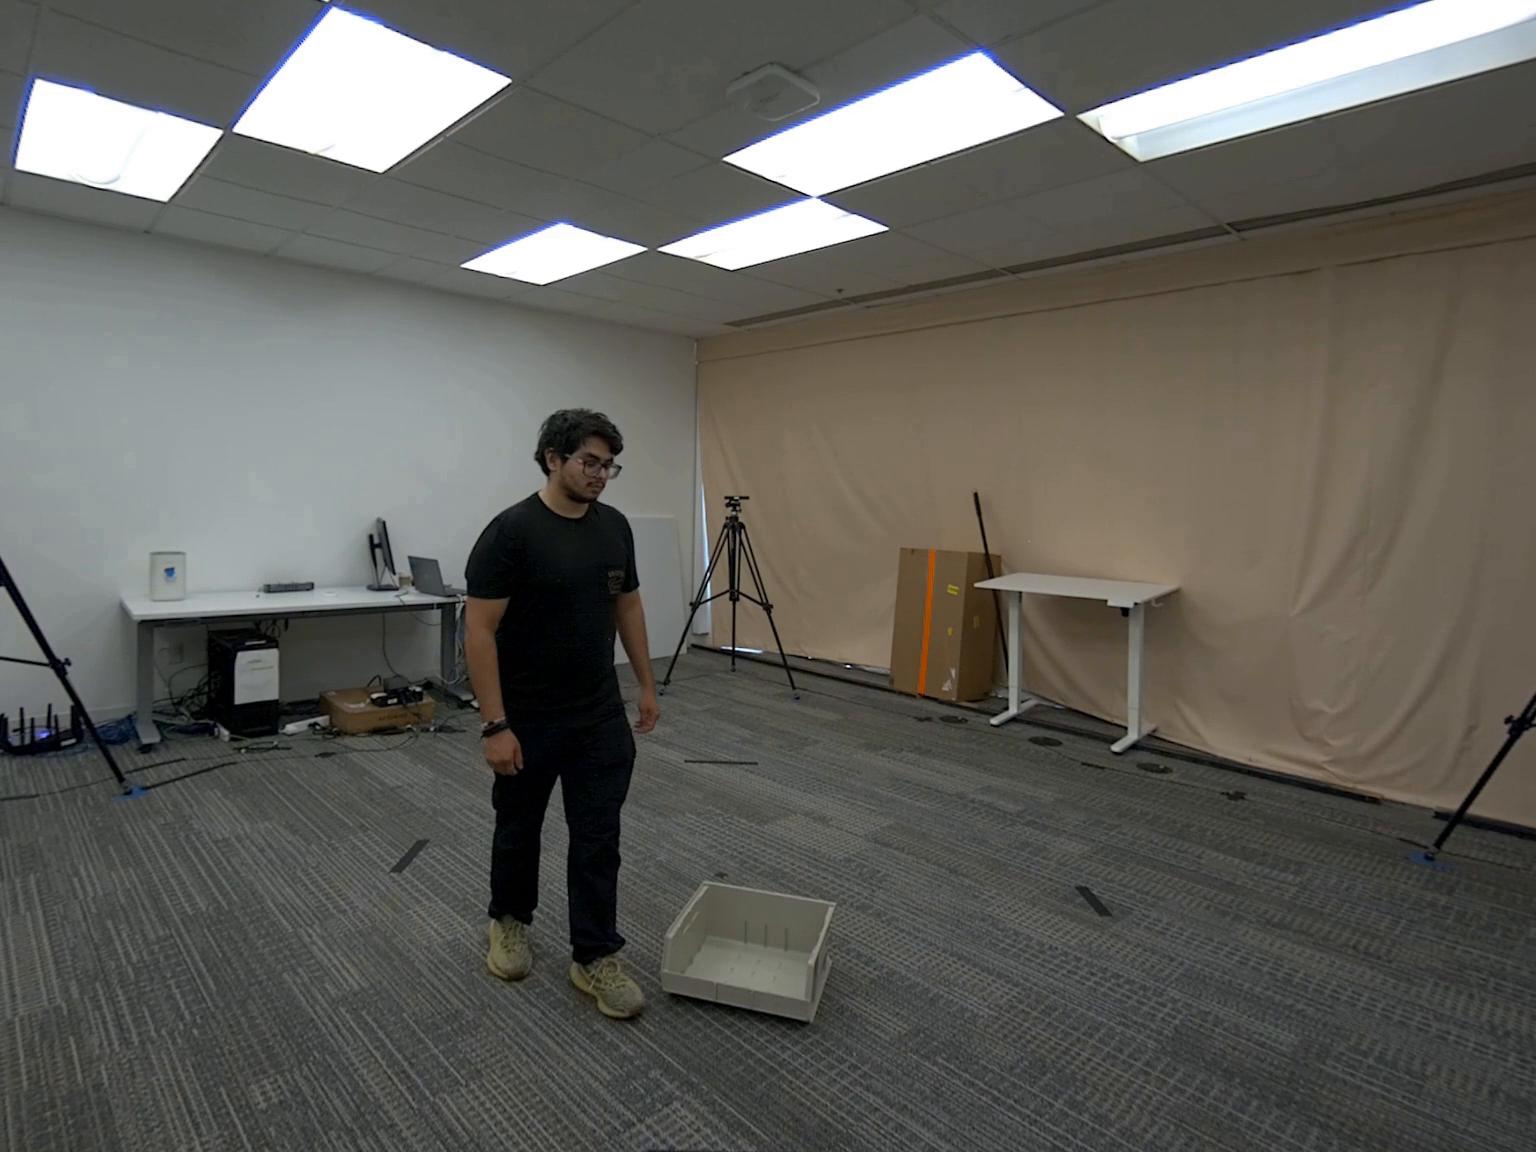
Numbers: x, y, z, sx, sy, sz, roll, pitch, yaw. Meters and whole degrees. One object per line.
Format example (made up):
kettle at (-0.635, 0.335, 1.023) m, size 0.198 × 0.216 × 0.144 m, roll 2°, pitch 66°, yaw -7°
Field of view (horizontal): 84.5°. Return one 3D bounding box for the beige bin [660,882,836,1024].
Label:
beige bin at (-0.048, 1.082, 2.418) m, size 0.428 × 0.188 × 0.373 m, roll 2°, pitch 4°, yaw 15°
